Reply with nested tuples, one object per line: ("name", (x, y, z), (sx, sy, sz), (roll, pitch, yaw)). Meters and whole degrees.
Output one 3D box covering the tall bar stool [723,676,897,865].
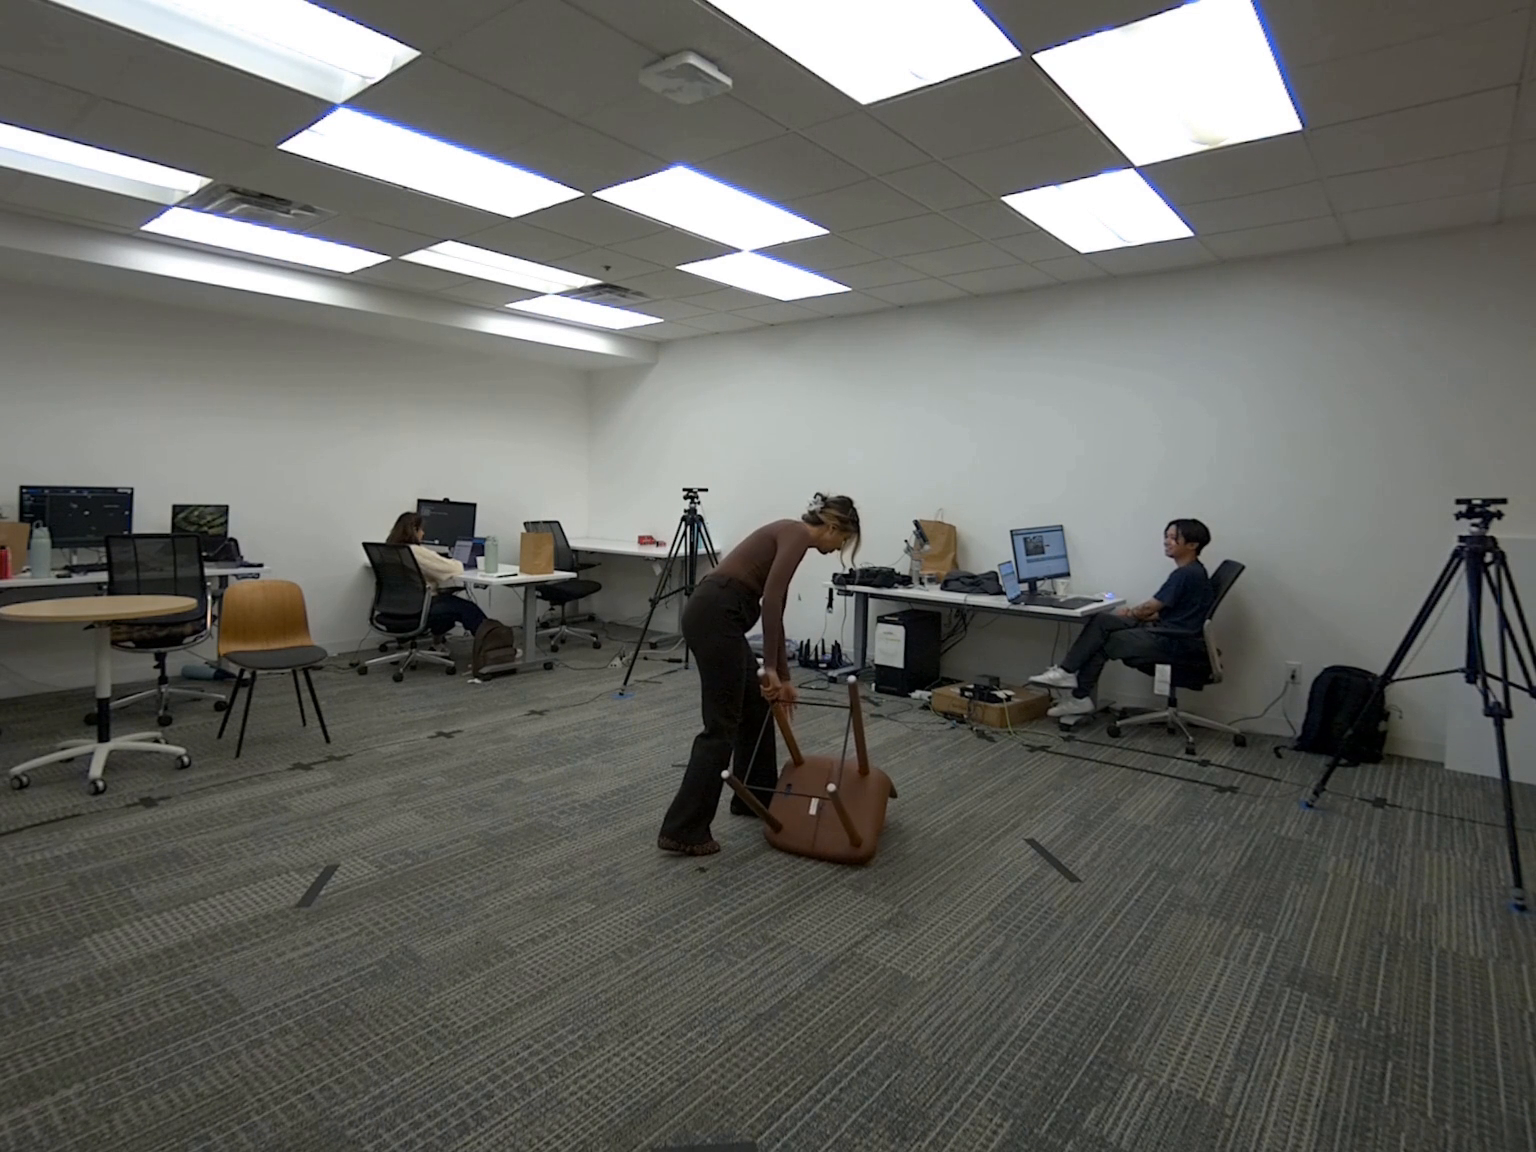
("tall bar stool", (0.185, 0.799, 3.261), (0.467, 0.475, 0.855), (1, -40, 23))
